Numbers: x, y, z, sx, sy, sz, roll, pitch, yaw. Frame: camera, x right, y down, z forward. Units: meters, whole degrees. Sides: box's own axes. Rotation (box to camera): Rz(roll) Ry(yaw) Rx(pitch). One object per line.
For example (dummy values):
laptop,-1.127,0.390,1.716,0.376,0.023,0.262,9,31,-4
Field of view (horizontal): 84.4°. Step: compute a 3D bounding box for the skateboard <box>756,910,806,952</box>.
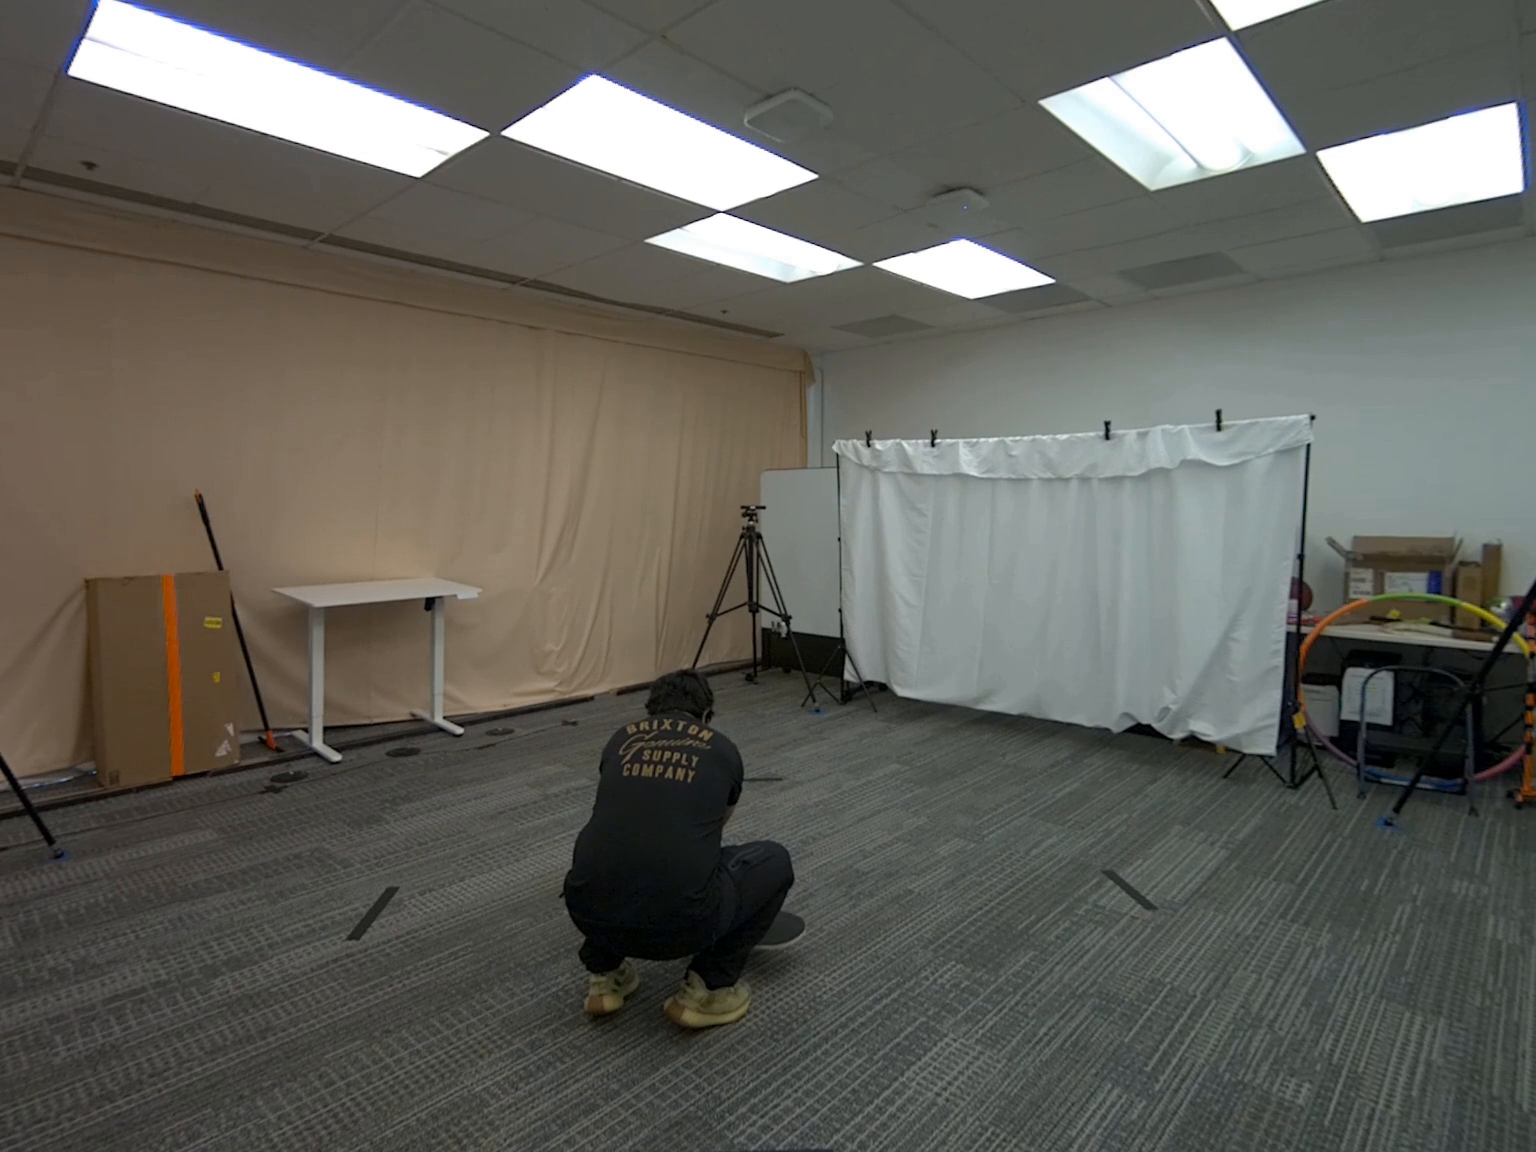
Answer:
skateboard,-0.217,1.082,2.730,0.811,0.109,0.189,5,16,35
